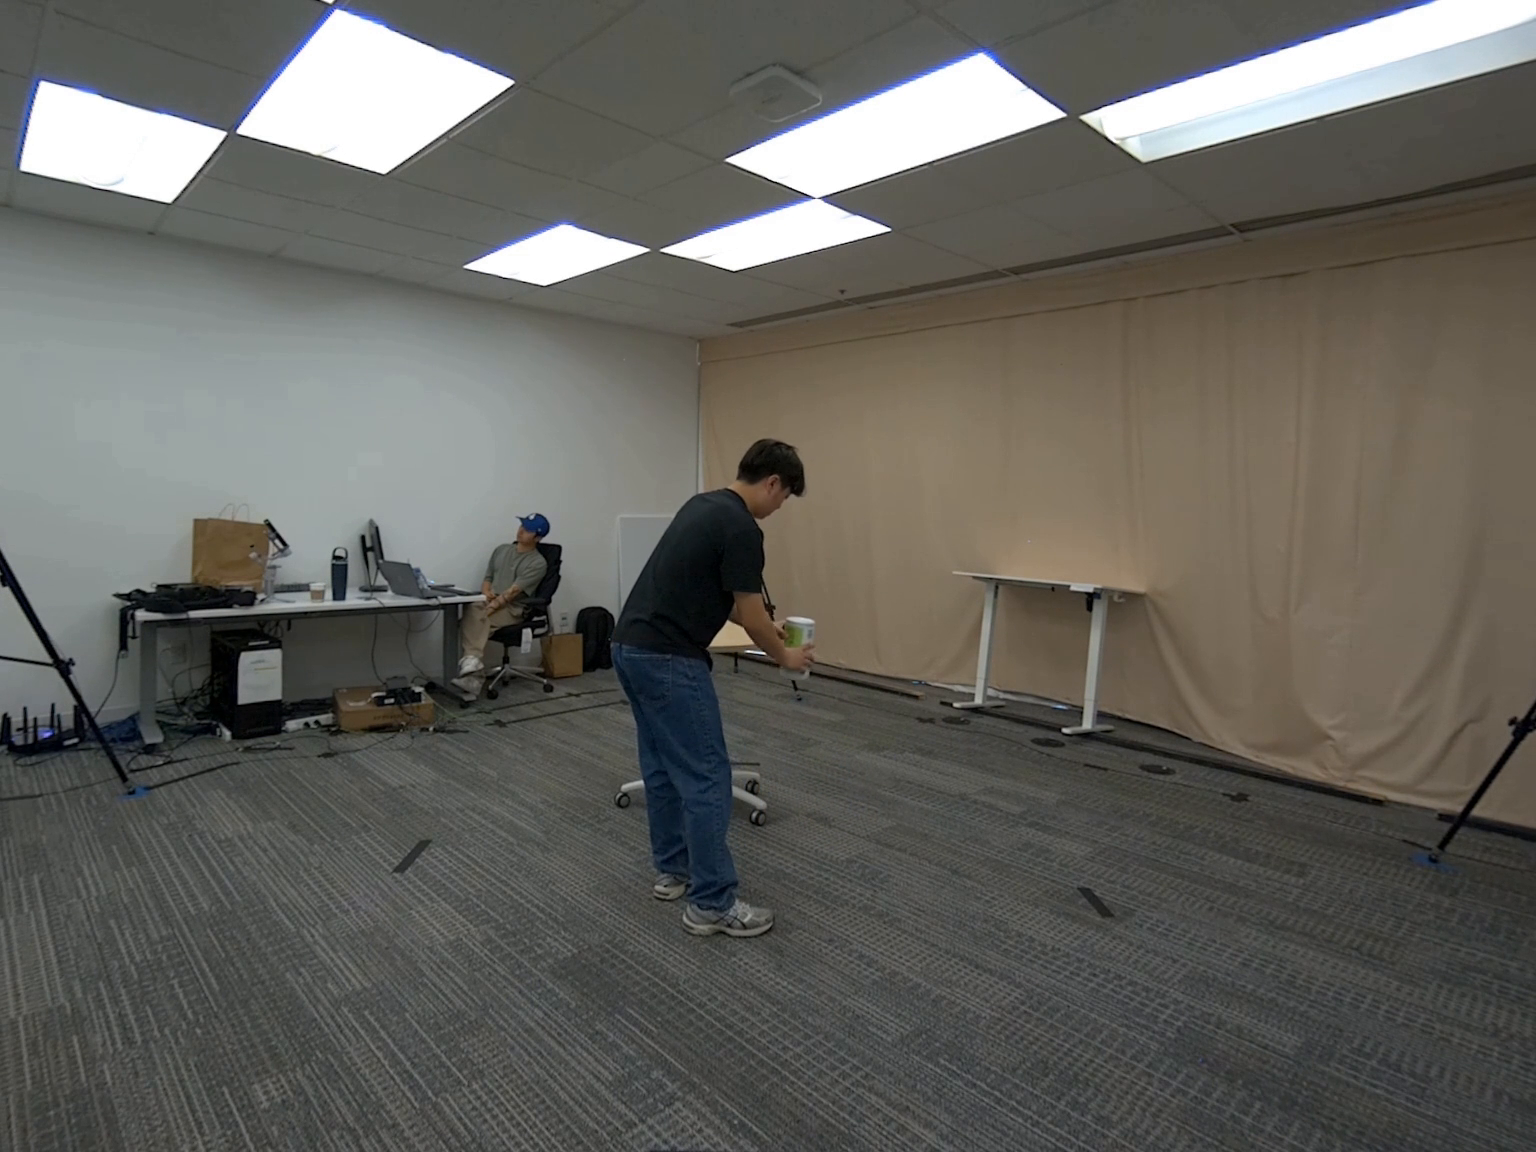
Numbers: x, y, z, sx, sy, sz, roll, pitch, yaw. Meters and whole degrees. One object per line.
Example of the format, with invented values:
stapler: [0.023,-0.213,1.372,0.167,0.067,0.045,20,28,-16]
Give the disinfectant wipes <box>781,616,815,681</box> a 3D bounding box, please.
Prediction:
disinfectant wipes: [0.105,0.269,3.064,0.117,0.217,0.118,7,5,-2]
